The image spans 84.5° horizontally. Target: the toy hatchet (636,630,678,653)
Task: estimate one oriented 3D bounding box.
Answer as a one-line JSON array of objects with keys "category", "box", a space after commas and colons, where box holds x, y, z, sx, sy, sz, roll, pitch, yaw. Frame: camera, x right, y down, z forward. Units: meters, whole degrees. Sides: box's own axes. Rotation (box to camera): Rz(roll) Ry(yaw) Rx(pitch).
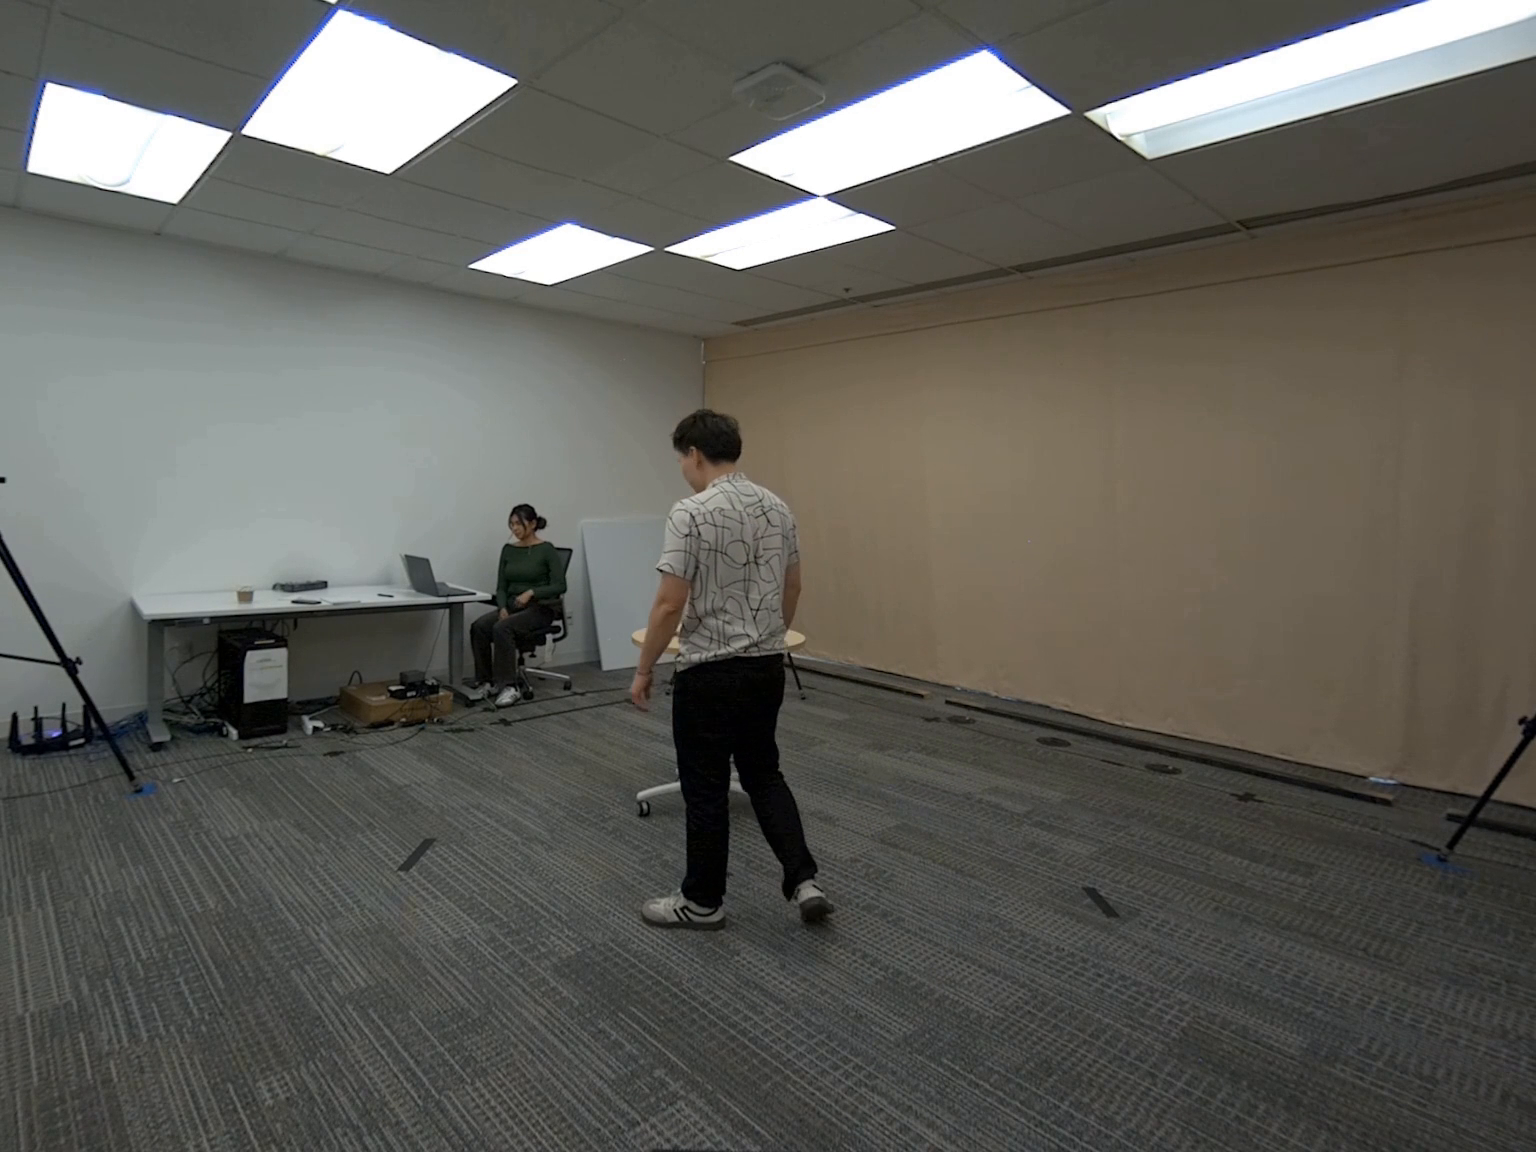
[{"category": "toy hatchet", "box": [-0.412, 0.262, 3.627, 0.272, 0.029, 0.131, 0, 8, 8]}]
